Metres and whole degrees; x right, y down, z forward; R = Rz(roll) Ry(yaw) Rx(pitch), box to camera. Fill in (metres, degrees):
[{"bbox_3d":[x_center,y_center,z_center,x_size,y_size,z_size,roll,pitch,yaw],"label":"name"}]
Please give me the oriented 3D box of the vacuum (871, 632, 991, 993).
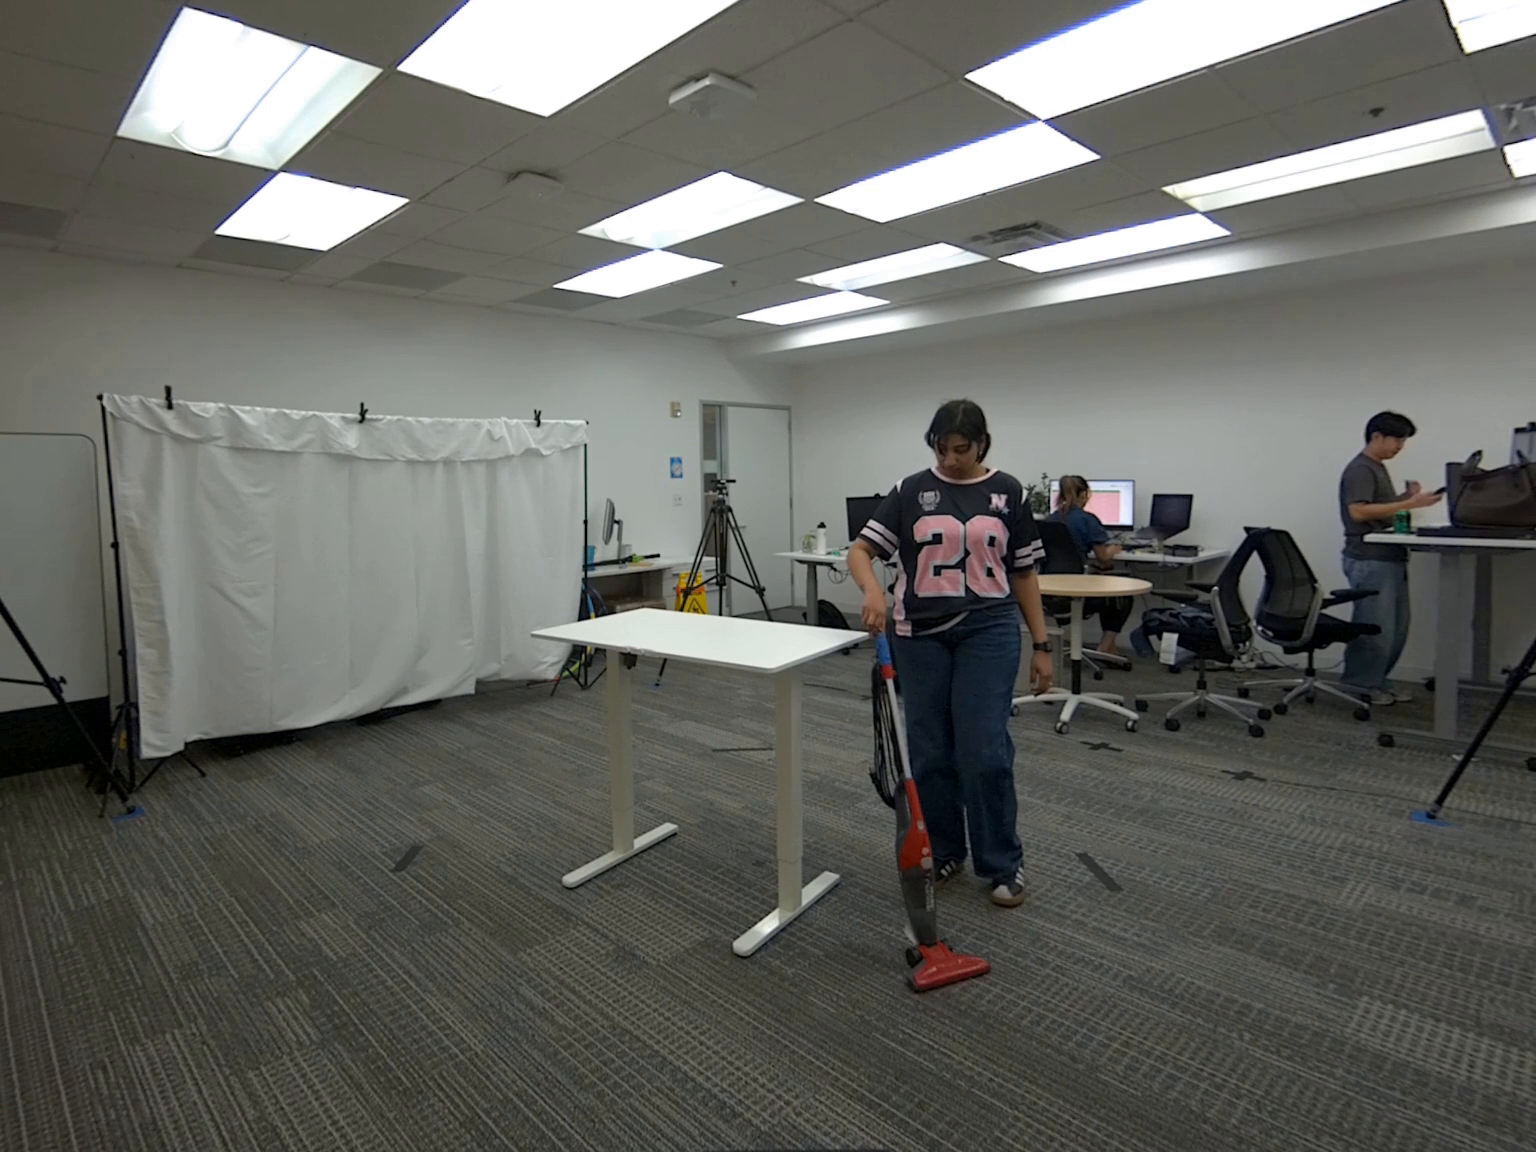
[{"bbox_3d":[0.404,0.611,2.565,0.247,1.067,0.144,-2,-18,-25],"label":"vacuum"}]
